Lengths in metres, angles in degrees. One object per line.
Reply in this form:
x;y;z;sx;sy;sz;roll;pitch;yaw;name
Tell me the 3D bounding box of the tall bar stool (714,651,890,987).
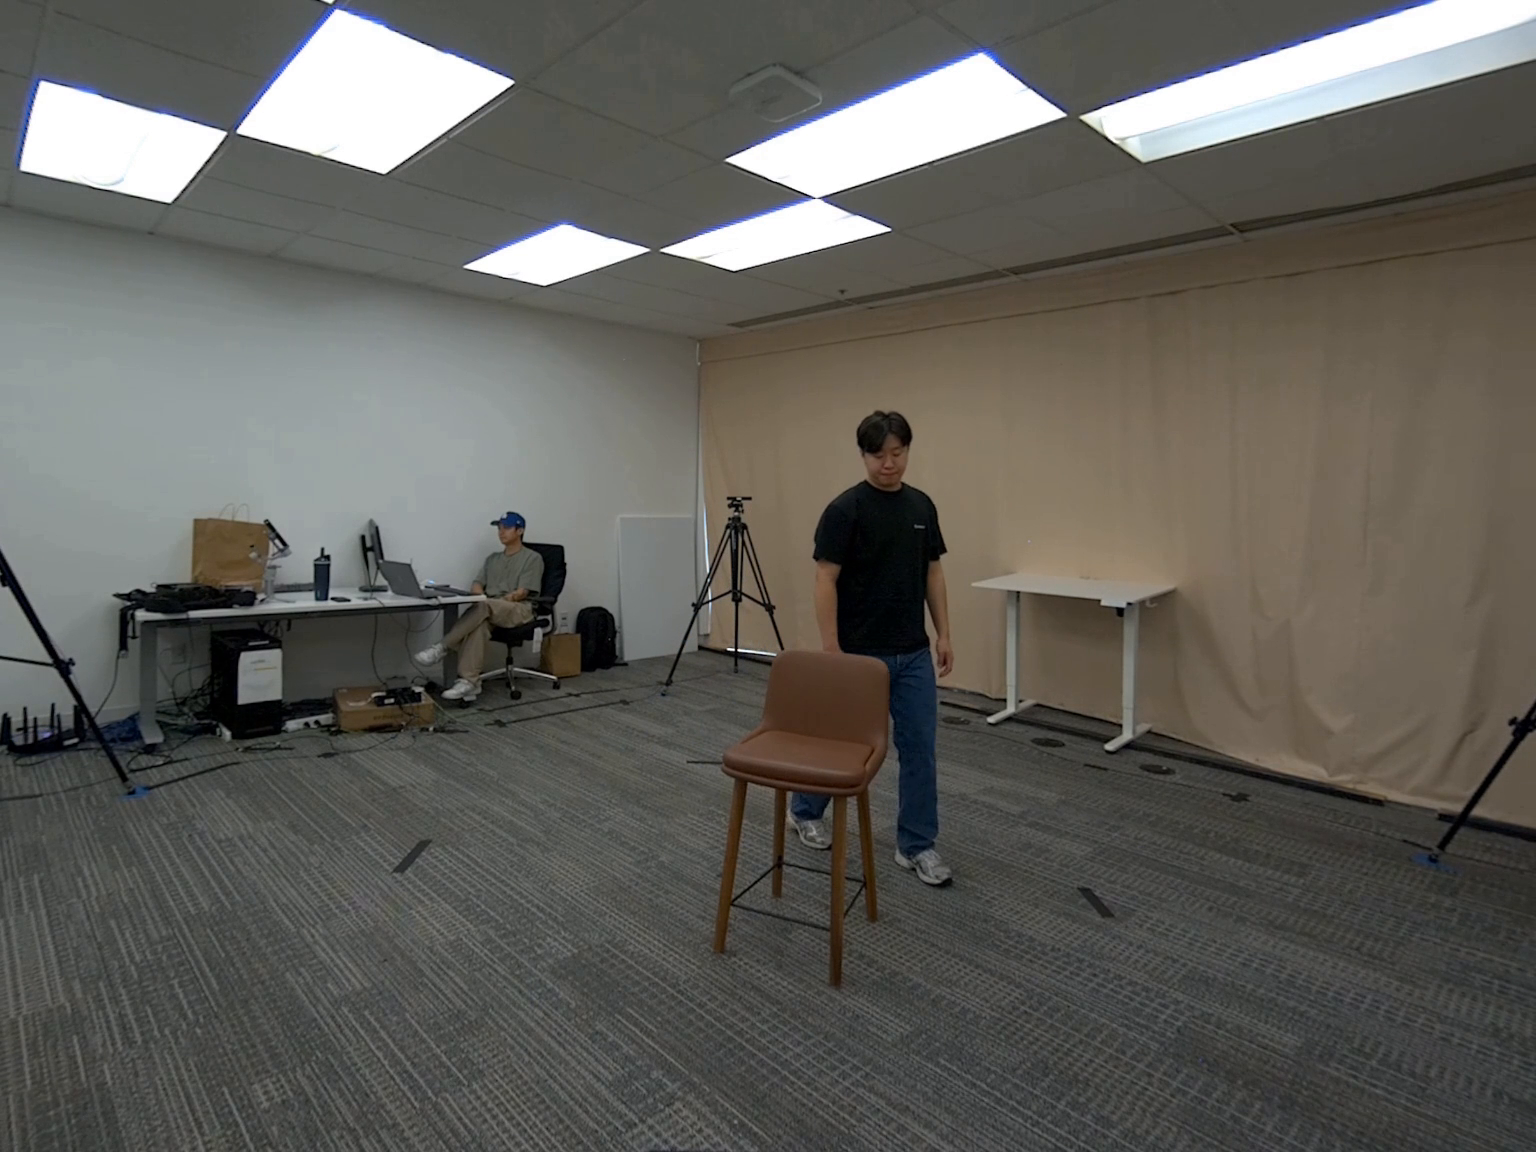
0.118;0.715;2.670;0.466;0.889;0.459;3;2;26;tall bar stool
